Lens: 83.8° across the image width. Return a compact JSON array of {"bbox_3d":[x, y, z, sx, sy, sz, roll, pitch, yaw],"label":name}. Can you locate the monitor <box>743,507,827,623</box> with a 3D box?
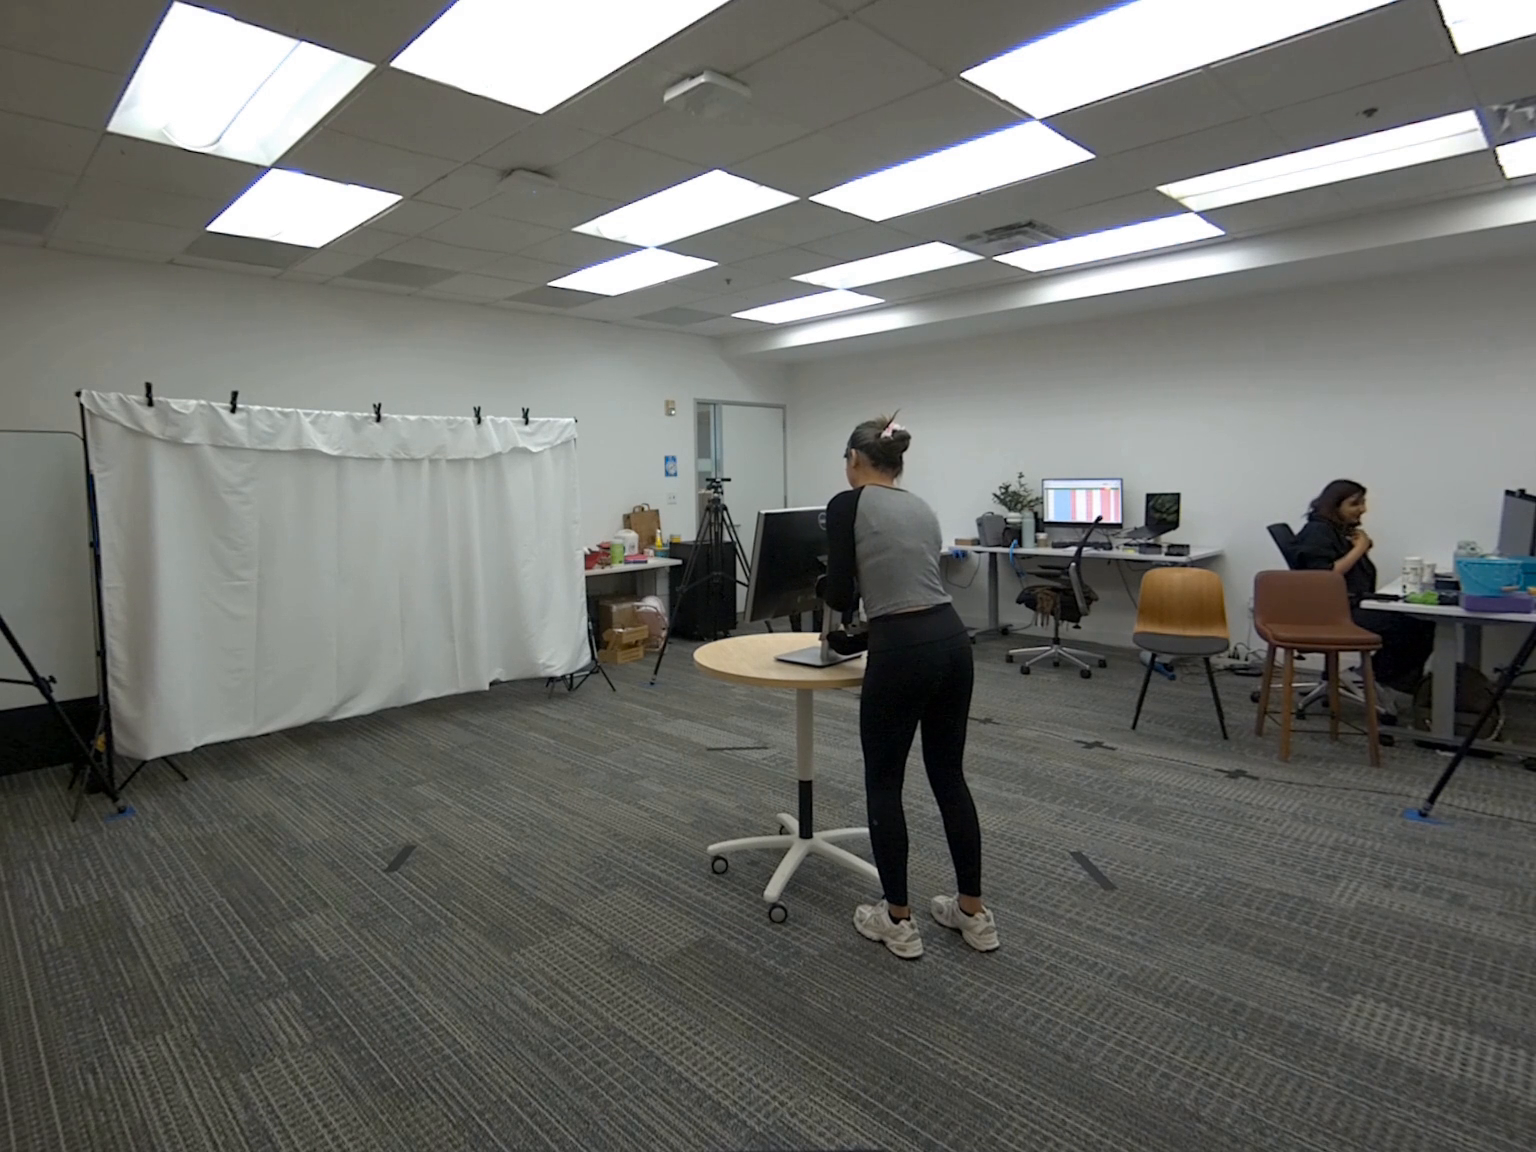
[{"bbox_3d":[0.177,0.031,2.839,0.193,0.521,0.525,1,5,41],"label":"monitor"}]
